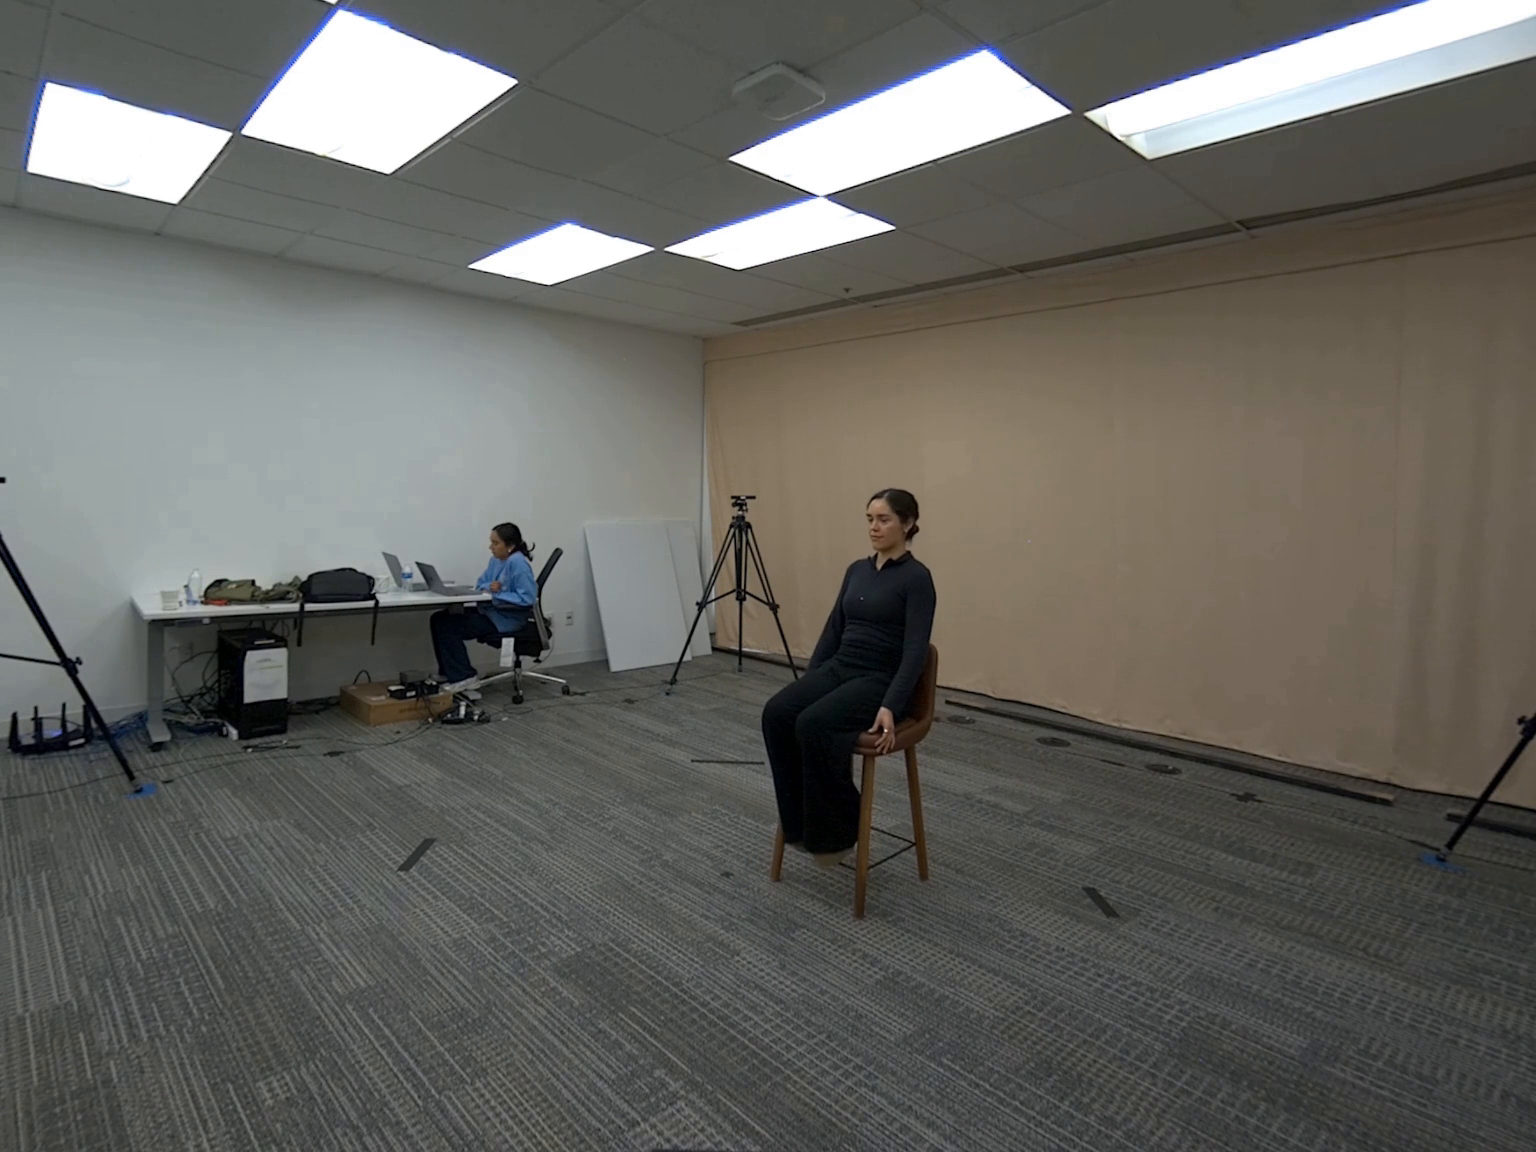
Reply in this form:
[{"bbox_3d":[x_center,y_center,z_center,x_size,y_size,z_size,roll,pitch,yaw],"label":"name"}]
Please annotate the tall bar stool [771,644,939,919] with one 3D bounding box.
[{"bbox_3d":[0.327,0.682,3.063,0.468,0.888,0.456,5,3,44],"label":"tall bar stool"}]
